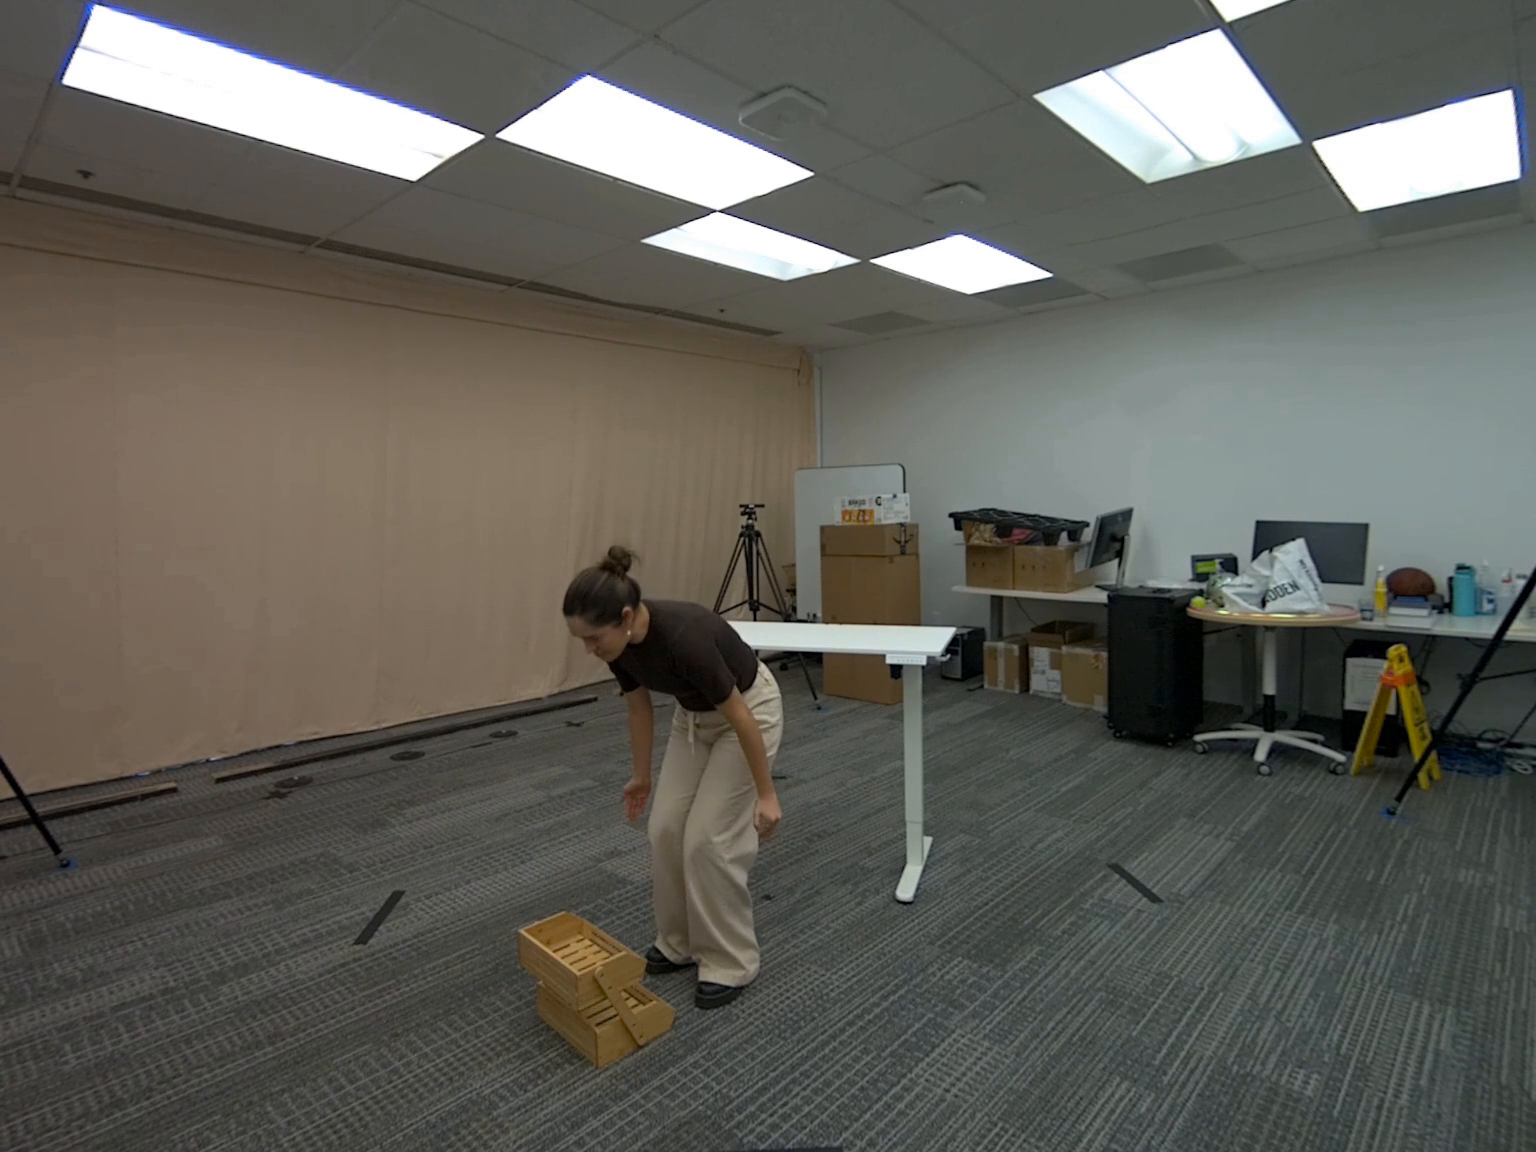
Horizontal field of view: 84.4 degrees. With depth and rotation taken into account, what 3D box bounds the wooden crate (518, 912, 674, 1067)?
[{"bbox_3d":[-0.460,1.076,2.259,0.293,0.272,0.335,-6,6,-43],"label":"wooden crate"}]
